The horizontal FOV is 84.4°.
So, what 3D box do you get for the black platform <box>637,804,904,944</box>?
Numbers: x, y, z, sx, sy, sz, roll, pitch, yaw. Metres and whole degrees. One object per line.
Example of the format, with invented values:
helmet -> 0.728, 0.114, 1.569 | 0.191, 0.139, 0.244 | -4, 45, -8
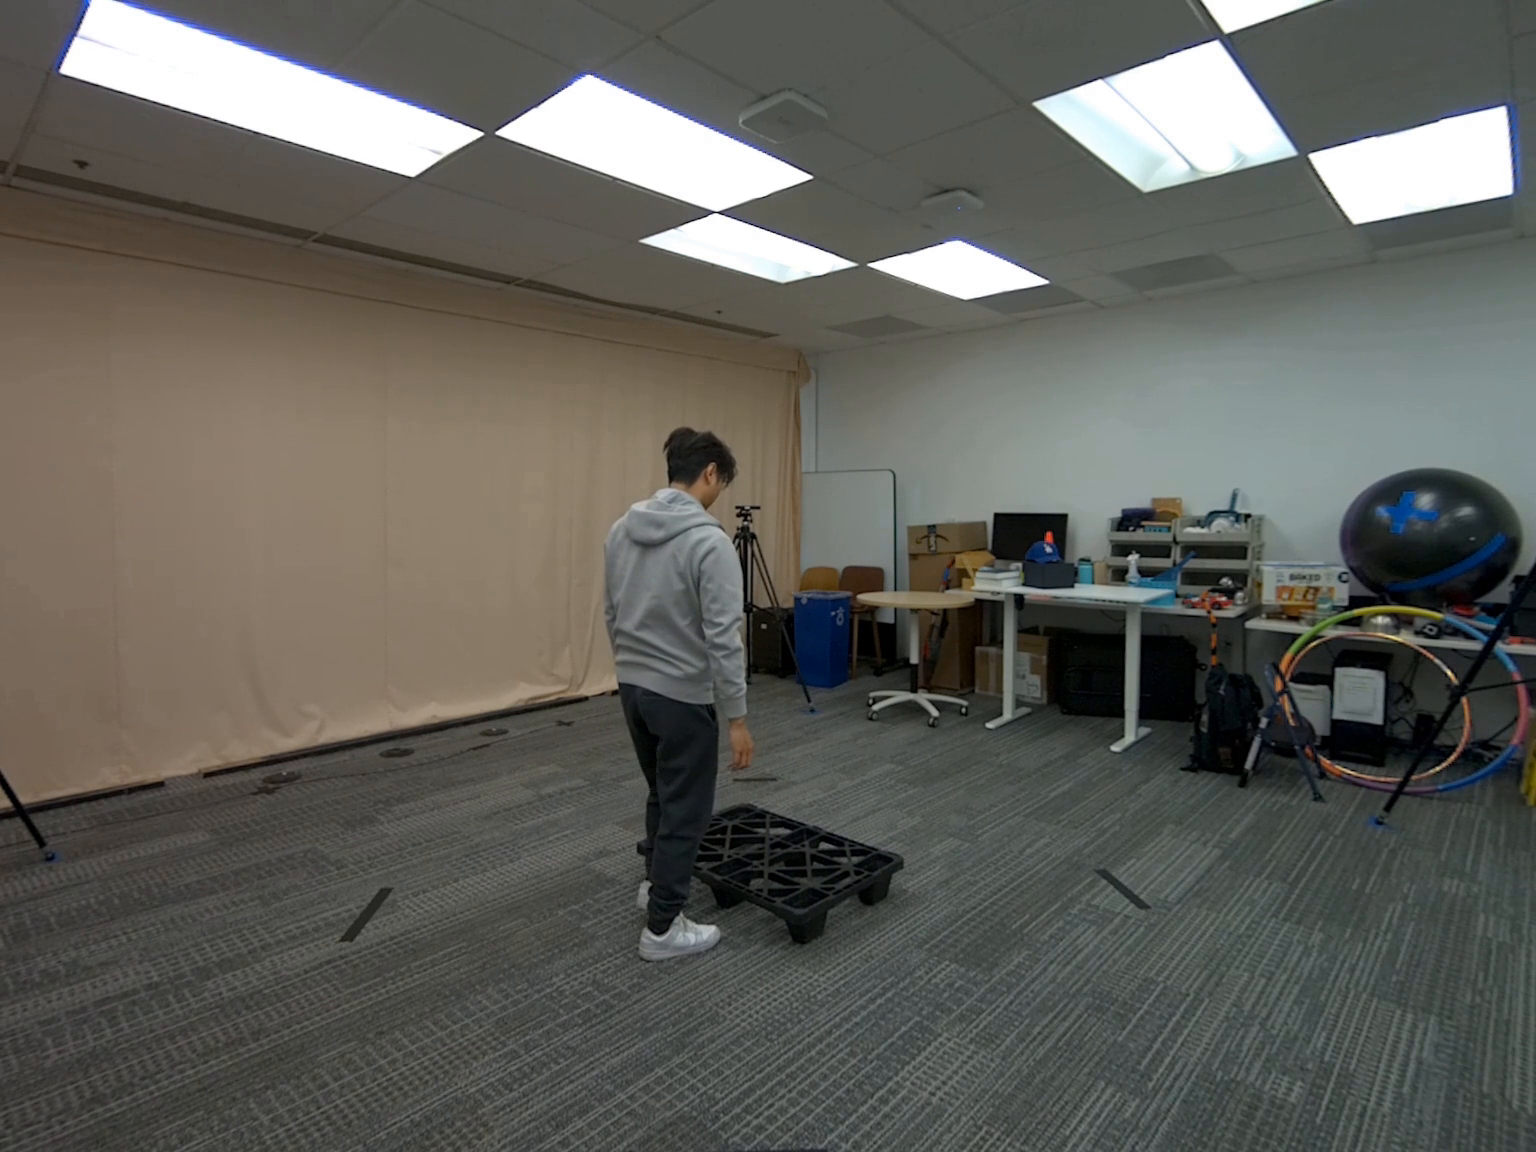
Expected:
black platform -> 0.002, 1.072, 3.081 | 0.832, 0.143, 0.587 | 4, 7, 43
